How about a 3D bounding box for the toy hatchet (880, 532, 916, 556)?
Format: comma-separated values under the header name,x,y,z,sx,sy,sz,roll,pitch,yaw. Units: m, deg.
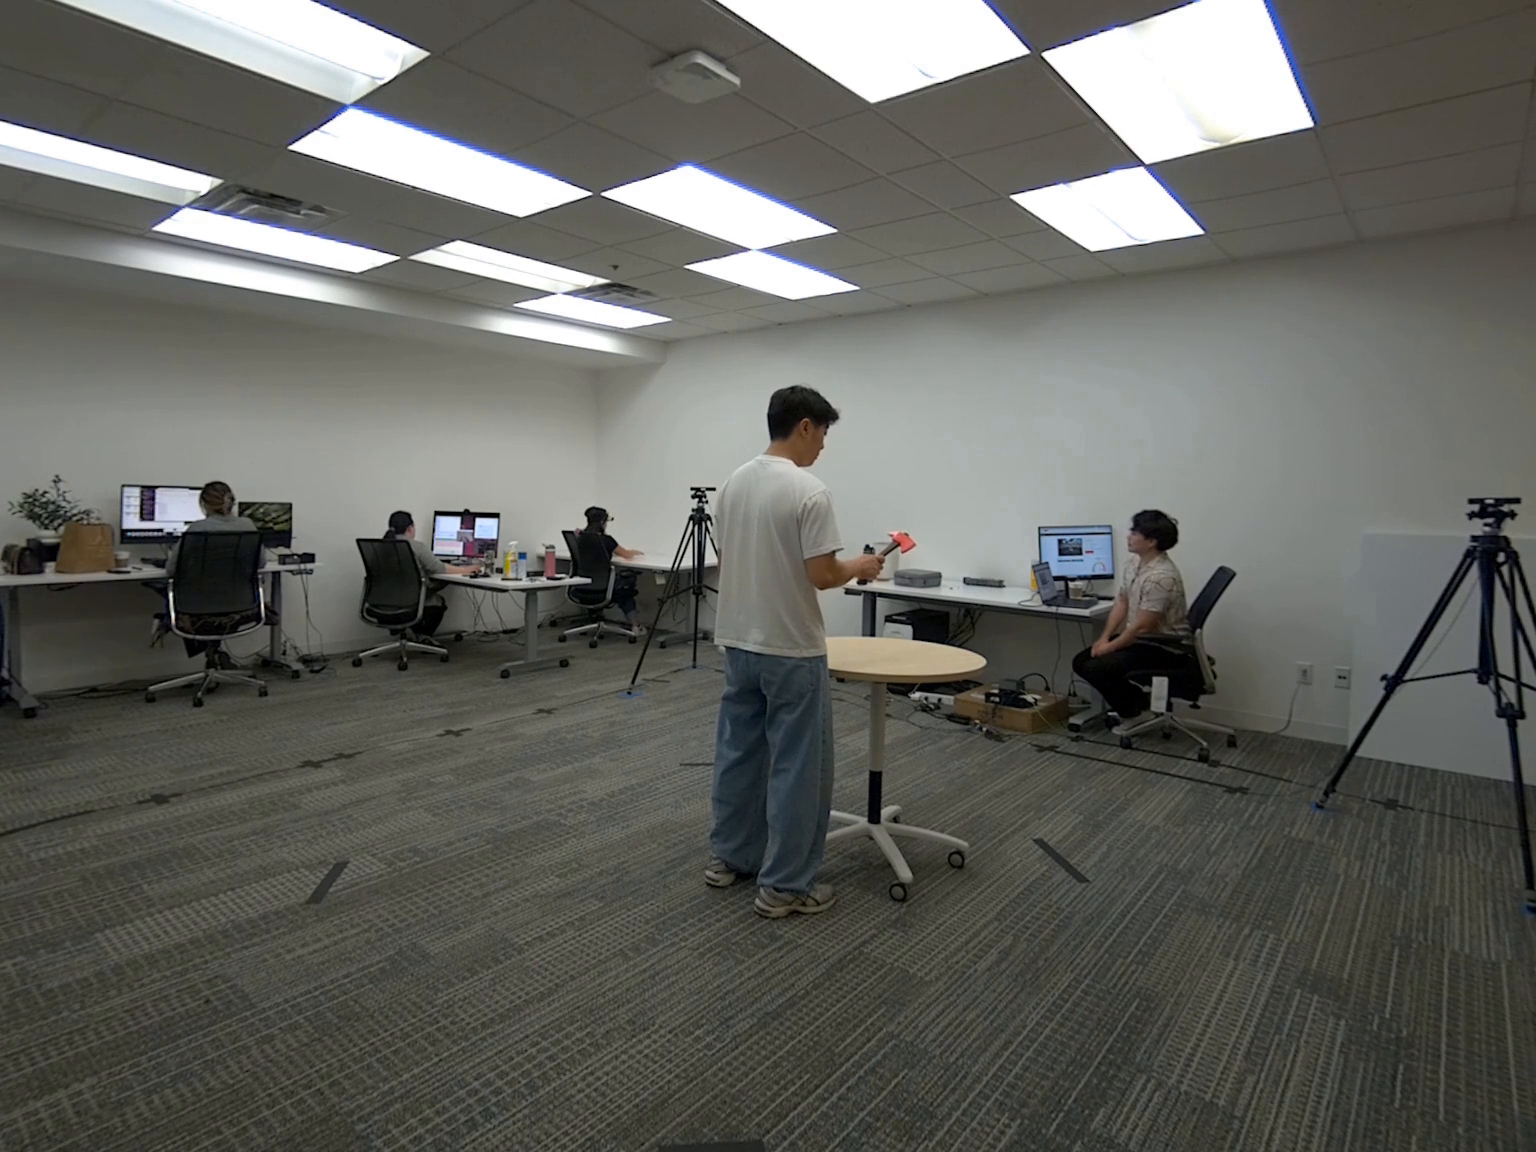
name,x,y,z,sx,sy,sz,roll,pitch,yaw
toy hatchet,0.412,-0.059,2.952,0.136,0.028,0.270,13,52,40
